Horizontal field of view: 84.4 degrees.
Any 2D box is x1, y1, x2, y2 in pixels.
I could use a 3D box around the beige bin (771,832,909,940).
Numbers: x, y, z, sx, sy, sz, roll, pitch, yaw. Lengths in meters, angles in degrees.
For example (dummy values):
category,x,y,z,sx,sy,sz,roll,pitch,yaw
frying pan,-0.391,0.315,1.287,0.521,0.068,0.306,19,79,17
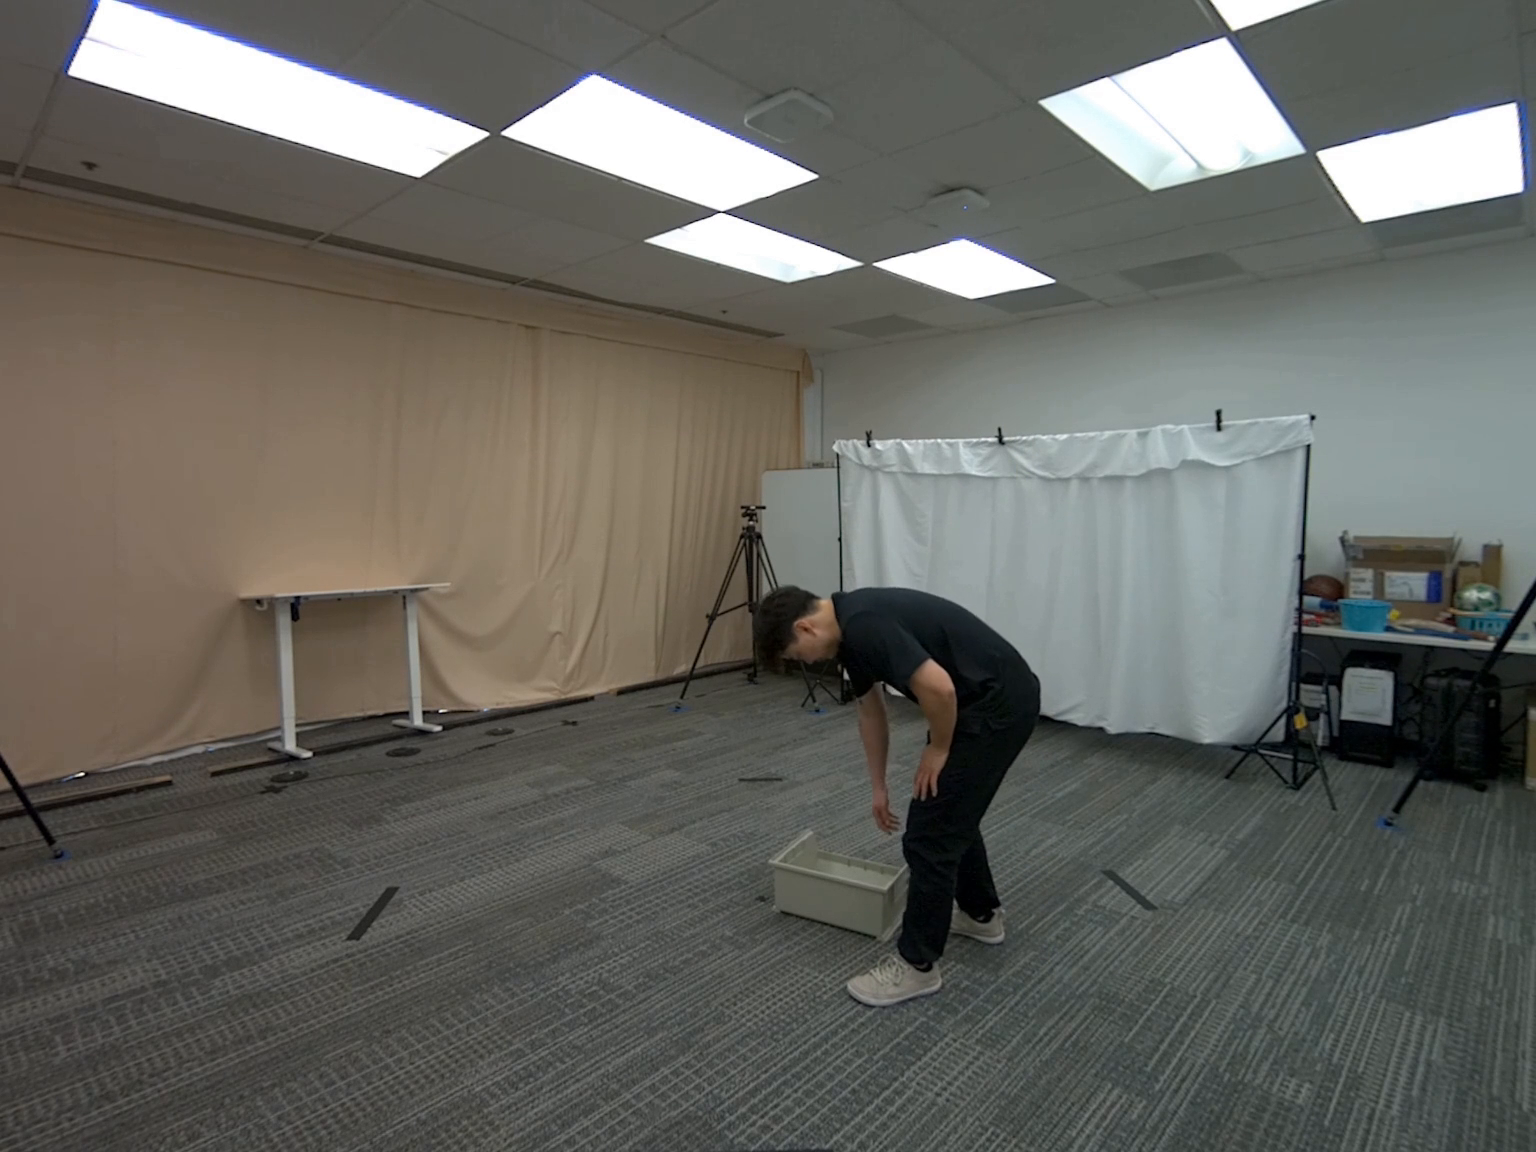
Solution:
category,x,y,z,sx,sy,sz,roll,pitch,yaw
beige bin,0.277,1.061,2.933,0.434,0.188,0.368,3,7,29
